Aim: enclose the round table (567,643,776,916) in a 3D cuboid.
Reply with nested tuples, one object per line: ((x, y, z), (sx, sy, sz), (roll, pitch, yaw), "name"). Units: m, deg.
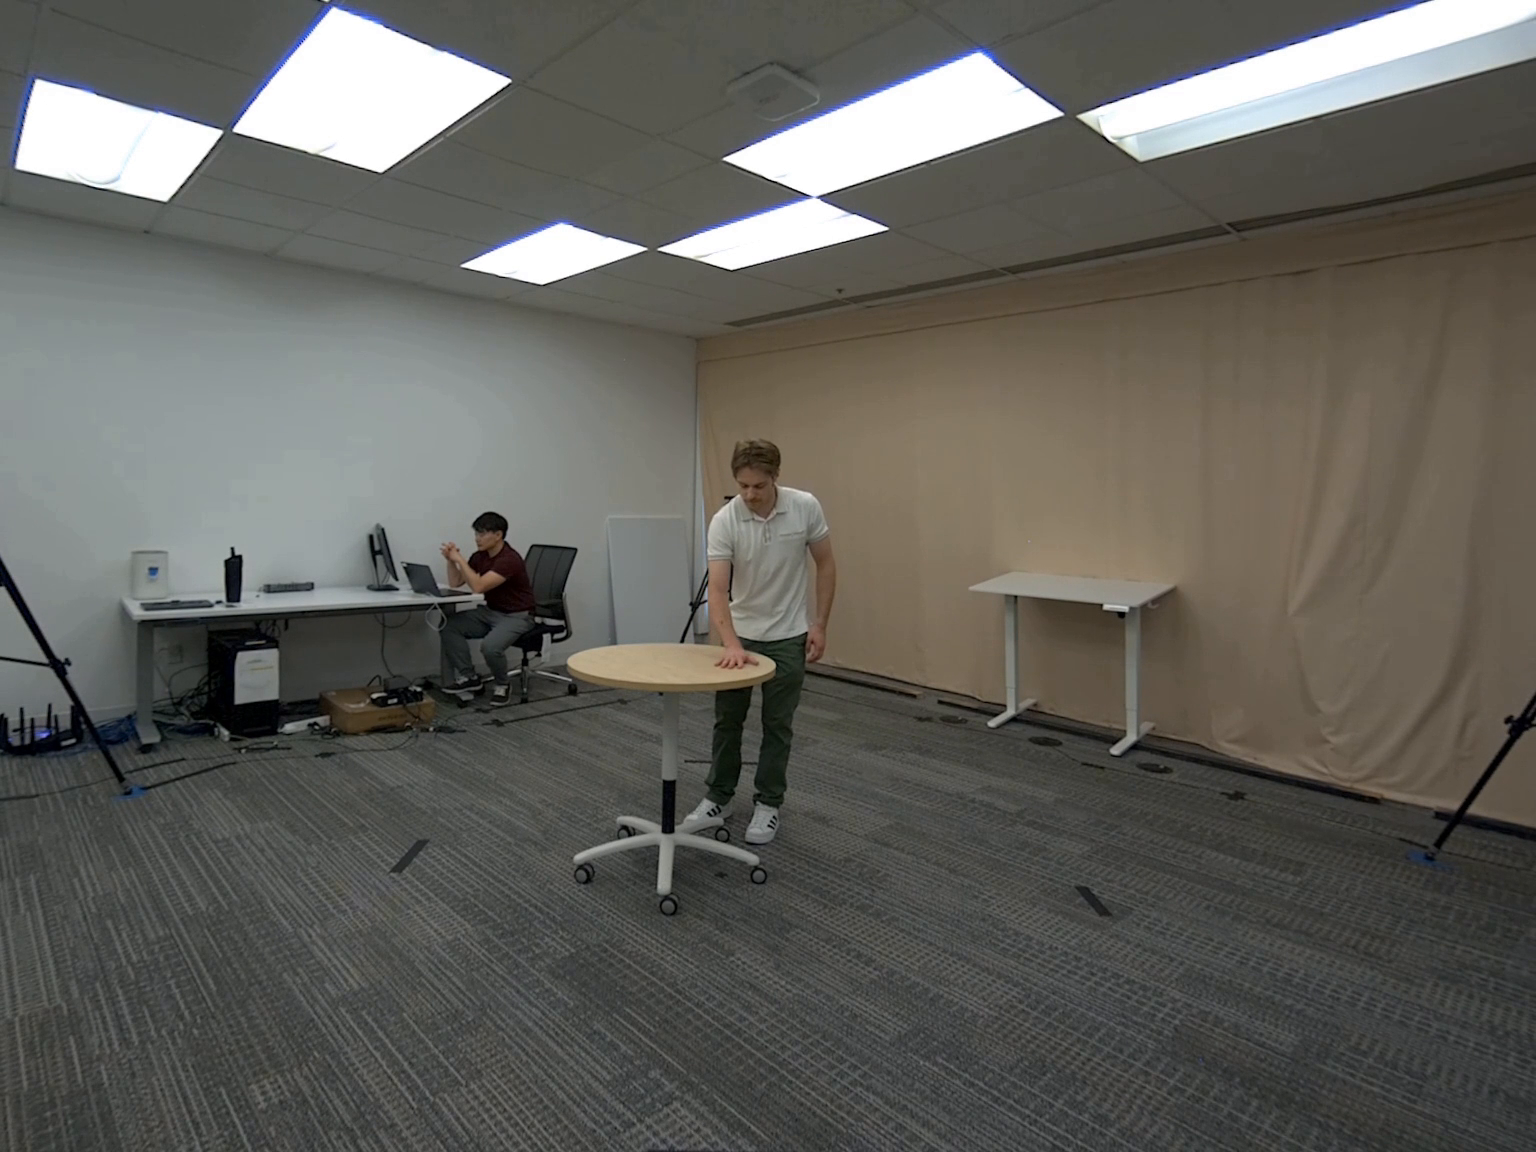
((-0.386, 0.704, 3.121), (0.784, 0.785, 0.787), (2, 4, -1), "round table")
